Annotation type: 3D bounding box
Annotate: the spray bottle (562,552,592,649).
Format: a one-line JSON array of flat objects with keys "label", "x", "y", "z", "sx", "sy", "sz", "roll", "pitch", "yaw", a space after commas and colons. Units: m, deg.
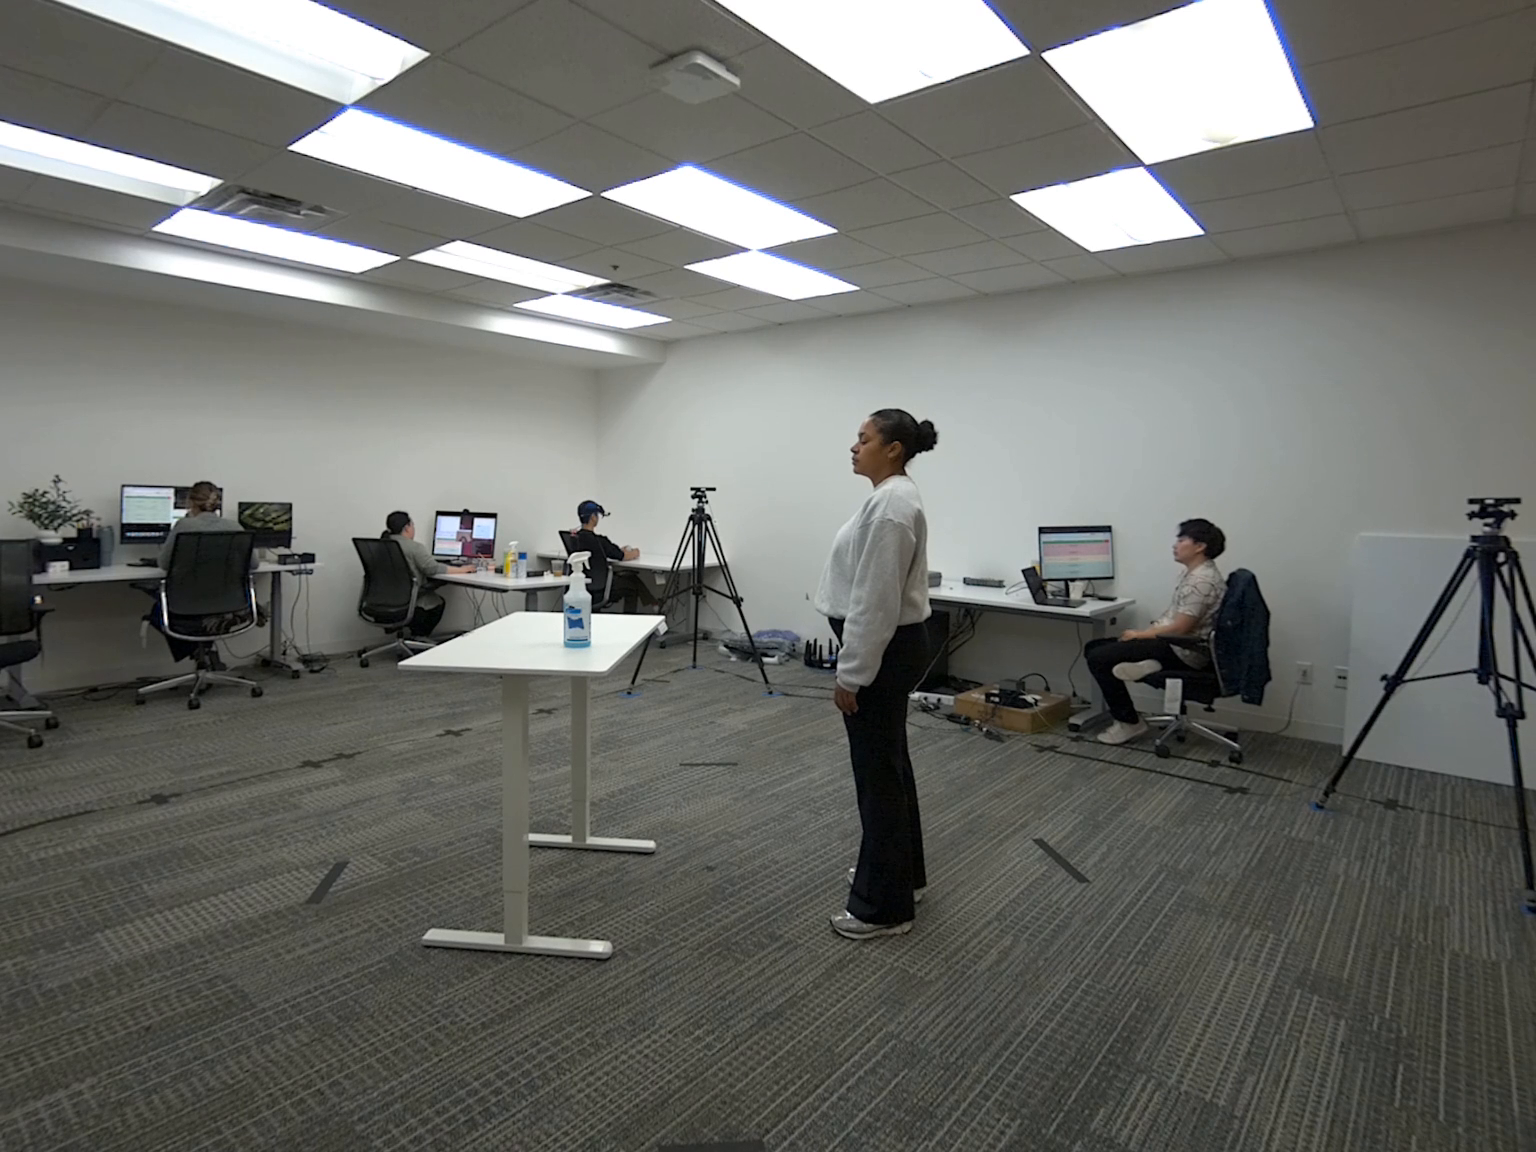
[{"label": "spray bottle", "x": -0.614, "y": 0.074, "z": 2.694, "sx": 0.088, "sy": 0.297, "sz": 0.089, "roll": 0, "pitch": 3, "yaw": -27}]
